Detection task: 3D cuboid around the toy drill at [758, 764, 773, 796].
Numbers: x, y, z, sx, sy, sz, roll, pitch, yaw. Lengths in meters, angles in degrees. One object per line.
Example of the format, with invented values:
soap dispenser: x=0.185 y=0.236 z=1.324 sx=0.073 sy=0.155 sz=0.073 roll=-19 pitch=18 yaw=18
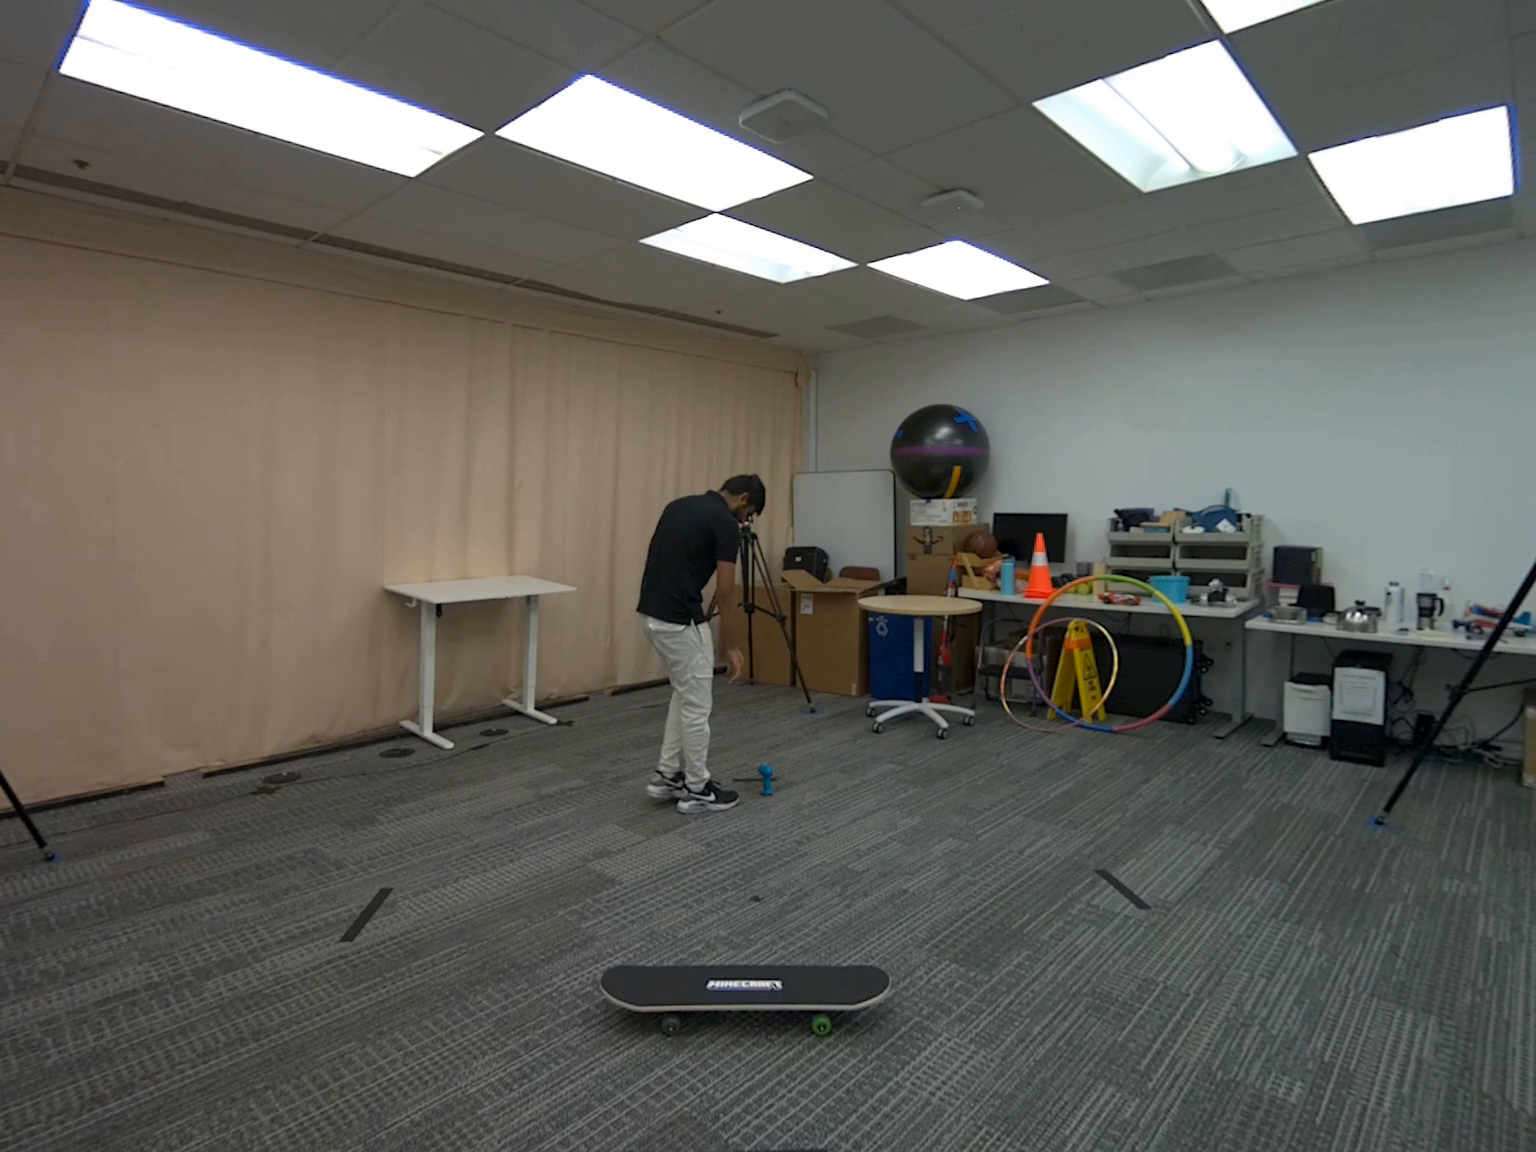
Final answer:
toy drill: x=-0.021 y=0.984 z=4.117 sx=0.060 sy=0.146 sz=0.173 roll=-4 pitch=0 yaw=-21
